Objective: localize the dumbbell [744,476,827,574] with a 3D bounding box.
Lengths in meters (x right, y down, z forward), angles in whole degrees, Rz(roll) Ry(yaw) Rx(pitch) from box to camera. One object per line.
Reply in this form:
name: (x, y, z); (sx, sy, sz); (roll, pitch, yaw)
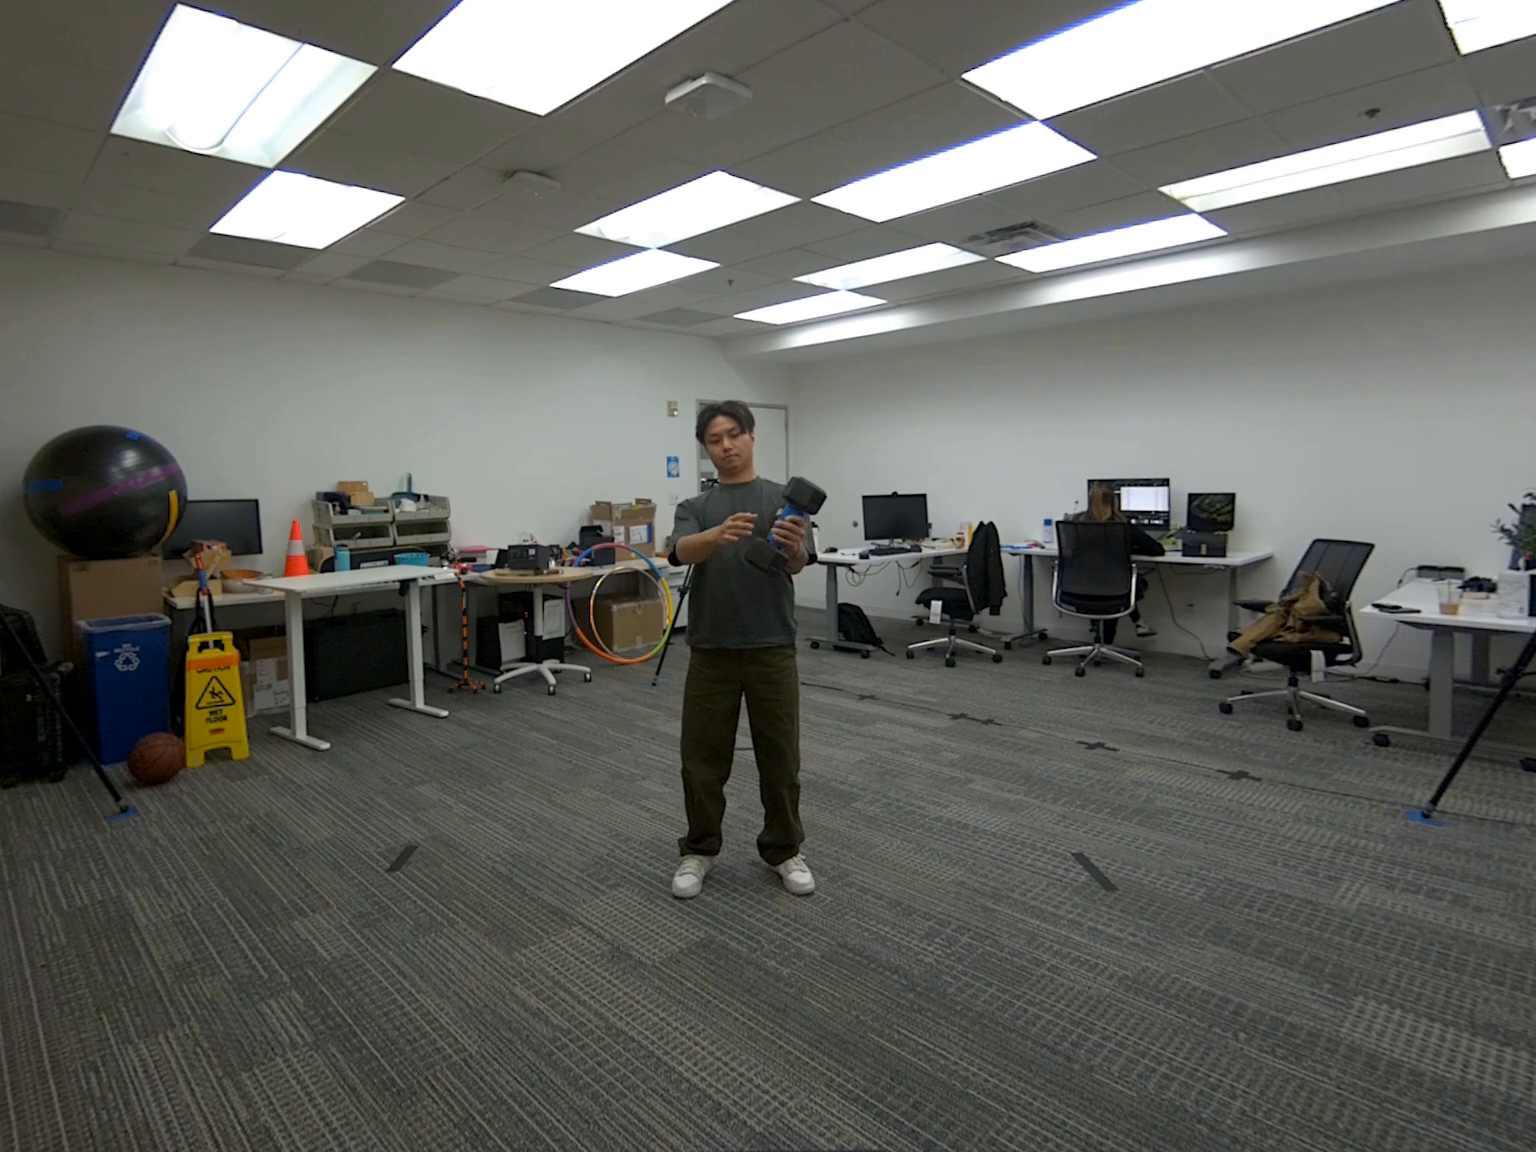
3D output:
dumbbell: (0.051, -0.144, 2.487); (0.125, 0.293, 0.106); (33, 1, 15)
